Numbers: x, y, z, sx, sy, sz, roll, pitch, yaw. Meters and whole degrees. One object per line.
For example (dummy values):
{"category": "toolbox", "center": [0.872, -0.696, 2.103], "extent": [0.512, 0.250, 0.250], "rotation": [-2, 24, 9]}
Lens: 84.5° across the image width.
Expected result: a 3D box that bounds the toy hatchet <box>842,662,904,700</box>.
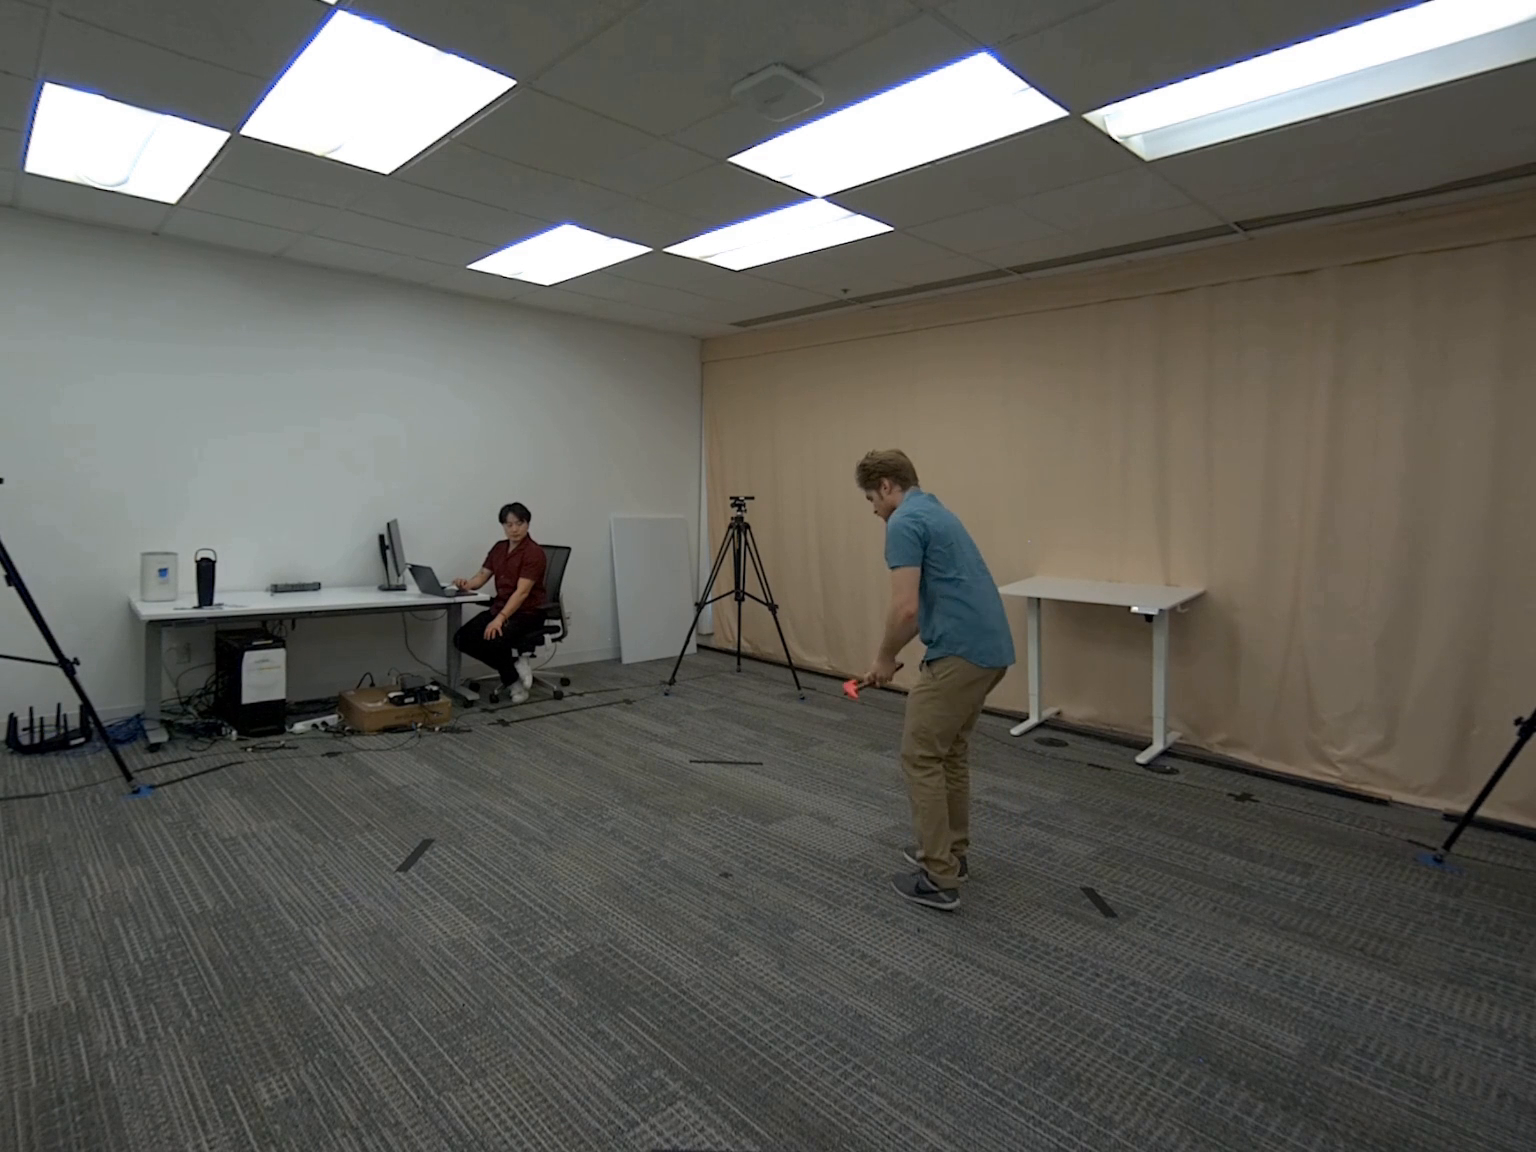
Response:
{"category": "toy hatchet", "center": [0.405, 0.420, 3.335], "extent": [0.267, 0.029, 0.134], "rotation": [-23, 21, -24]}
